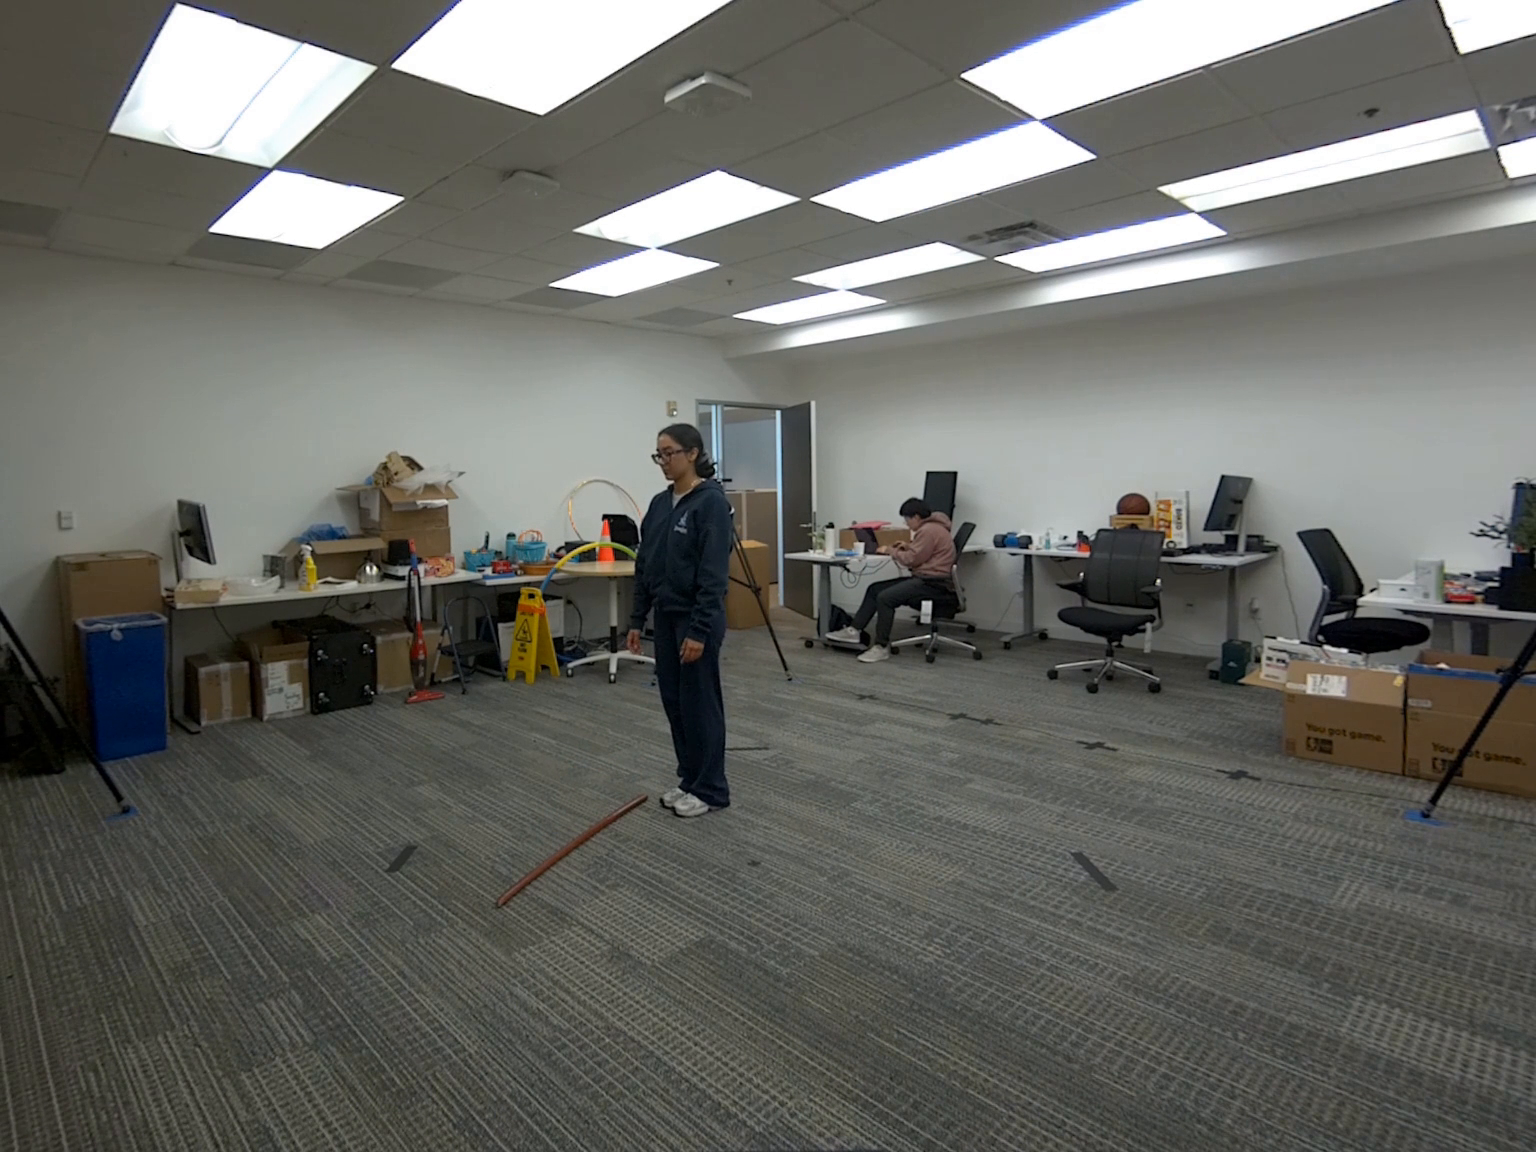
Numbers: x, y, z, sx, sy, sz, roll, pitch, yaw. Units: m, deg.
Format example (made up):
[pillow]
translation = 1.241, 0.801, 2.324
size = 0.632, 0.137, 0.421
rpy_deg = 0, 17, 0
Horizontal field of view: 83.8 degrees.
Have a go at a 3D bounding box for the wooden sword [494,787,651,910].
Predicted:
[wooden sword]
translation = -0.712, 1.016, 3.301
size = 0.052, 0.024, 1.010
rpy_deg = 12, 11, 18
